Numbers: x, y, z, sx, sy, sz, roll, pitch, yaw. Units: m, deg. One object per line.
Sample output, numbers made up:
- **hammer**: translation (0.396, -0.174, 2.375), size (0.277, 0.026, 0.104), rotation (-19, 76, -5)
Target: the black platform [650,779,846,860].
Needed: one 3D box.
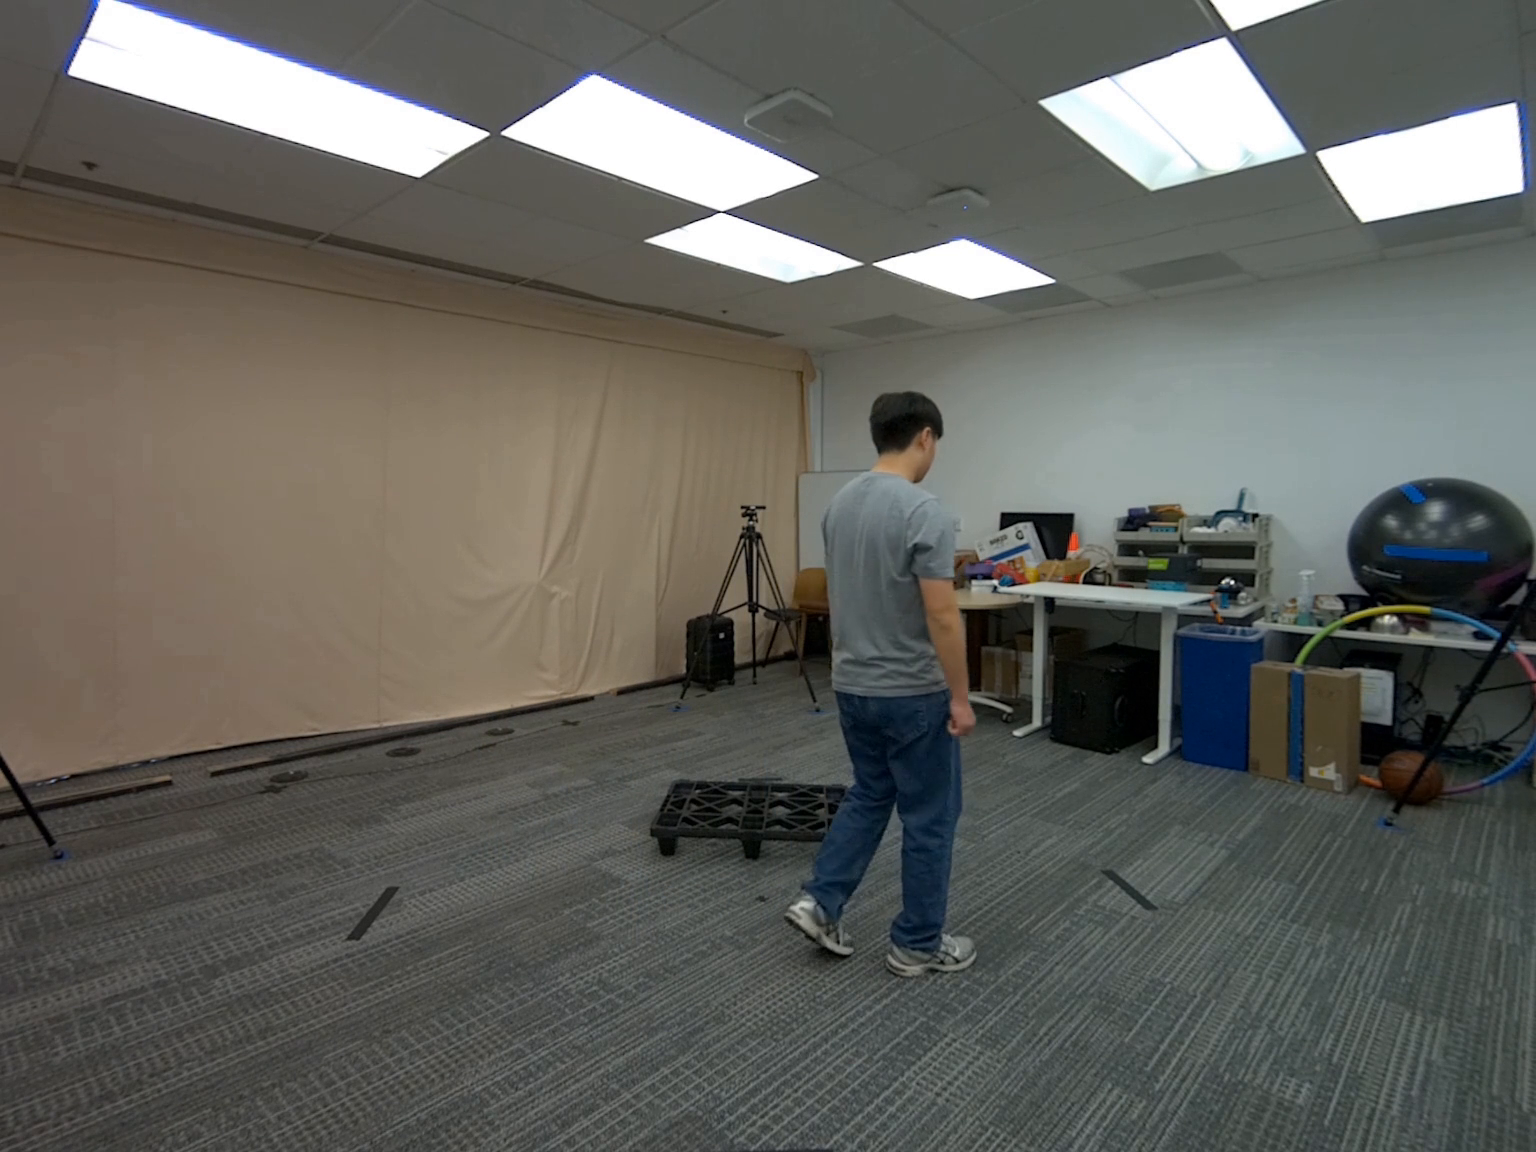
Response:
- **black platform**: translation (-0.046, 1.027, 3.541), size (0.811, 0.143, 0.603), rotation (0, 5, 5)
